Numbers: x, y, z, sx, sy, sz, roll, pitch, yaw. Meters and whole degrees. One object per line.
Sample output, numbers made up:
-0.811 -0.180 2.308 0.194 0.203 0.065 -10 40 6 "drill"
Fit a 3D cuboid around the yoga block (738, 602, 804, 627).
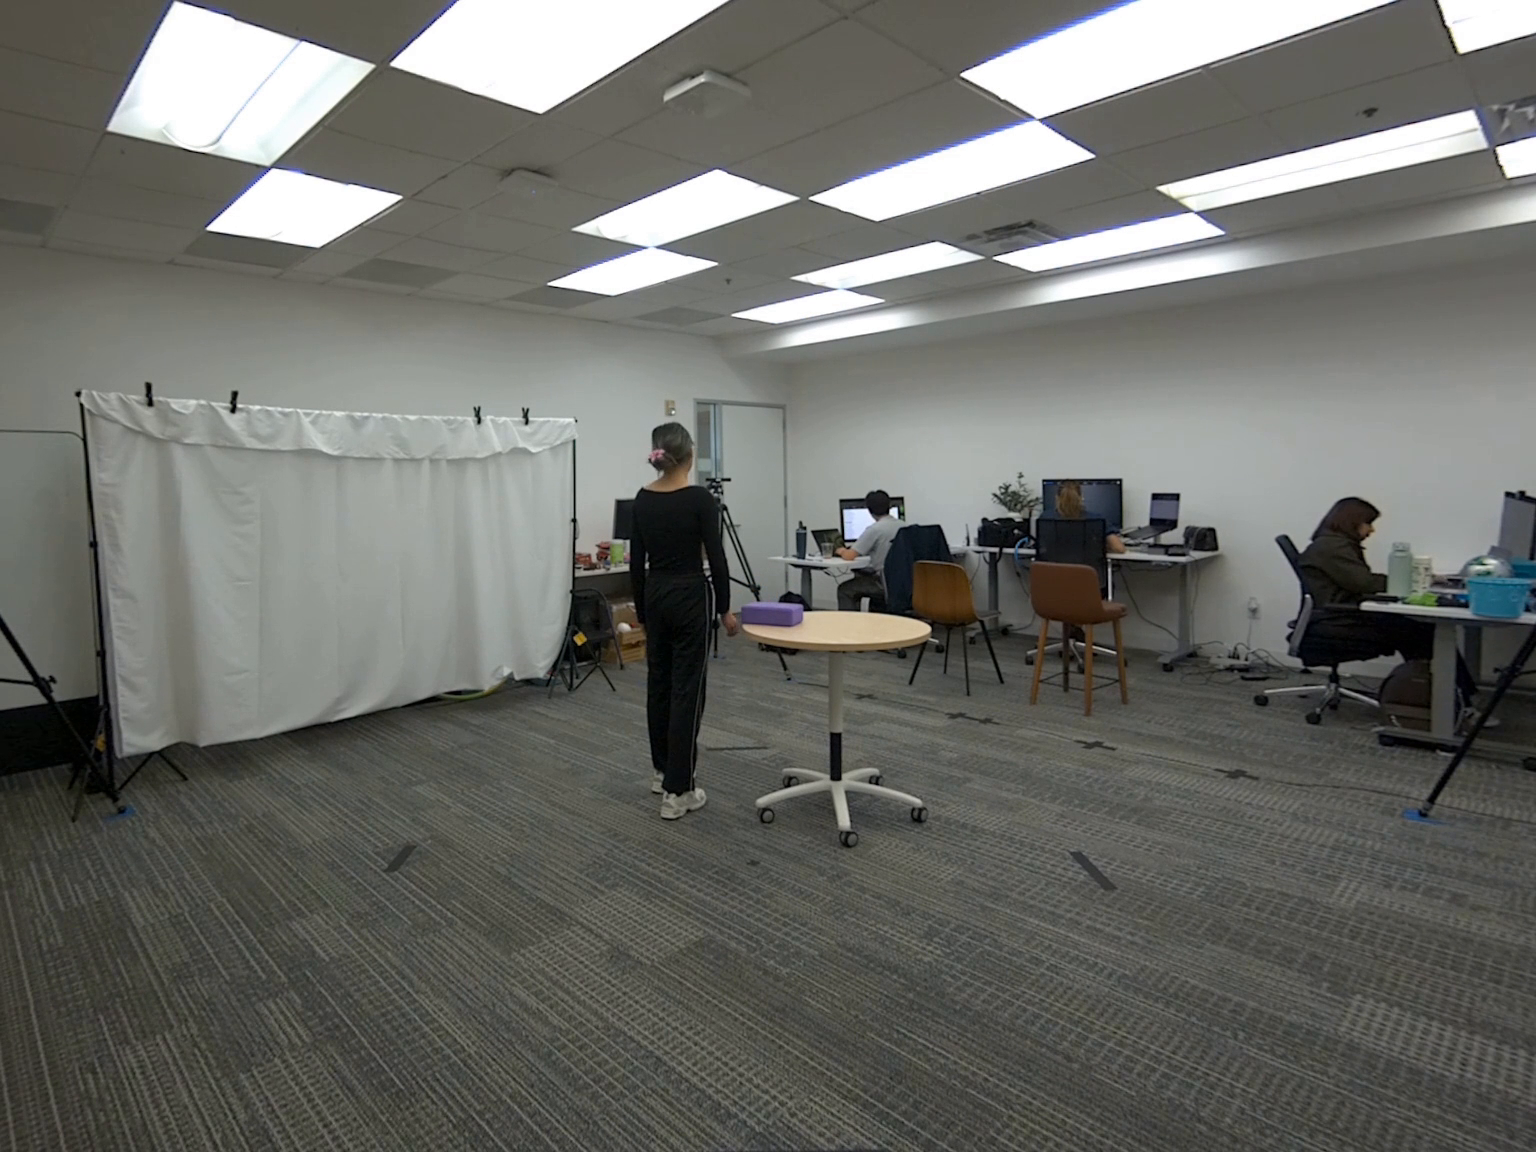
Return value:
0.016 0.159 3.600 0.234 0.076 0.146 3 6 24 "yoga block"
